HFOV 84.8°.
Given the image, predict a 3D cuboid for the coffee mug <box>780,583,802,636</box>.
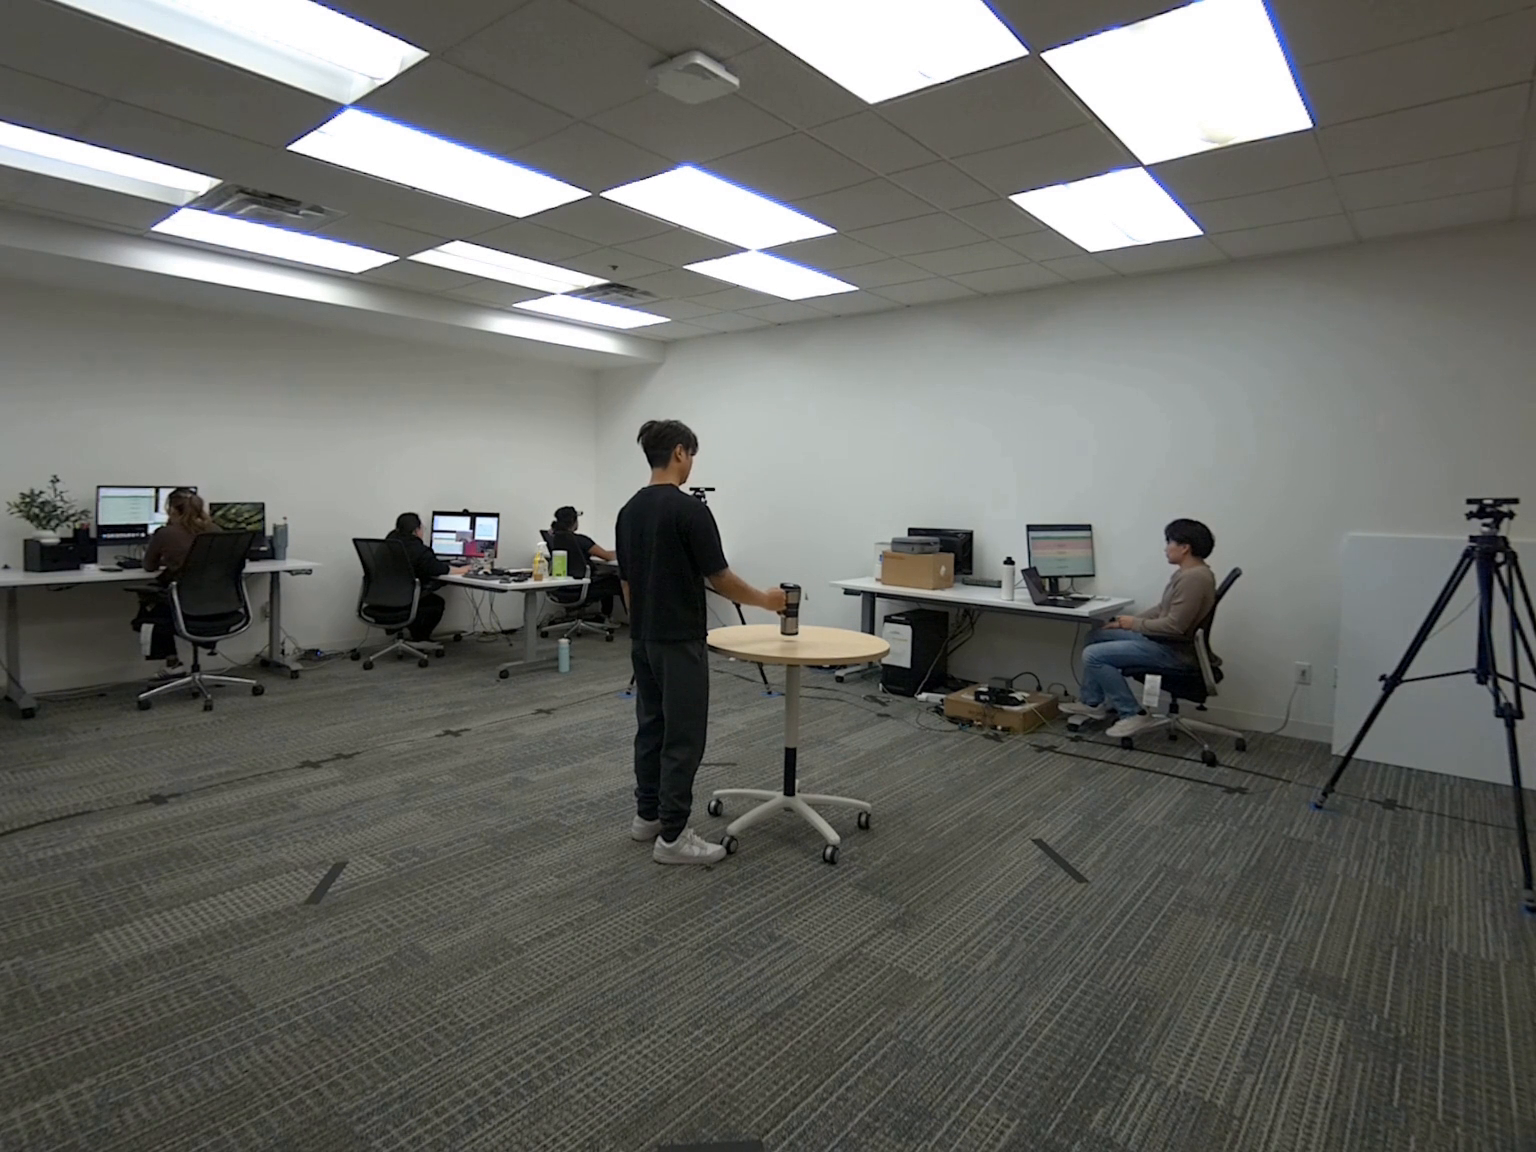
[{"bbox_3d":[0.054,0.131,3.401,0.118,0.202,0.091,1,8,-36],"label":"coffee mug"}]
